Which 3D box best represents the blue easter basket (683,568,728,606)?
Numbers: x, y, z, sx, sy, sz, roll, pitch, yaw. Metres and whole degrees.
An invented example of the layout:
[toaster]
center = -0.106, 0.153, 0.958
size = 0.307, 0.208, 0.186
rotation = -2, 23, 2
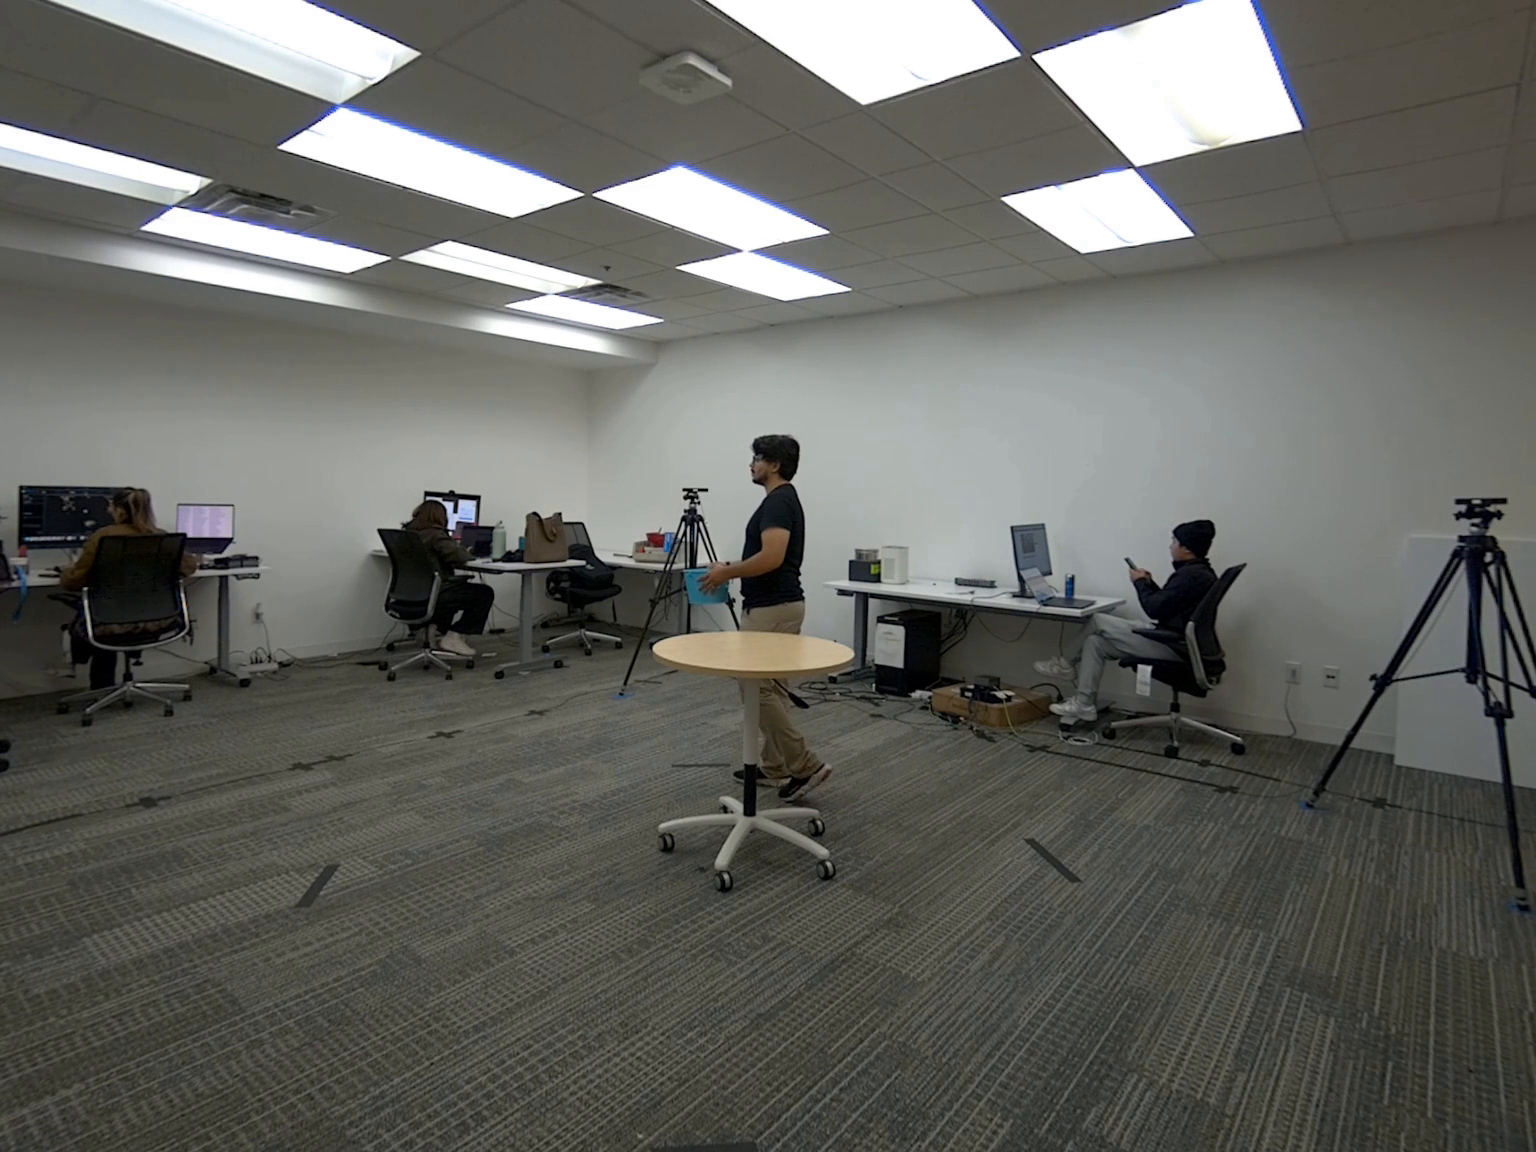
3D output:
[blue easter basket]
center = -0.280, 0.043, 4.024
size = 0.243, 0.156, 0.244
rotation = 1, 1, -2
